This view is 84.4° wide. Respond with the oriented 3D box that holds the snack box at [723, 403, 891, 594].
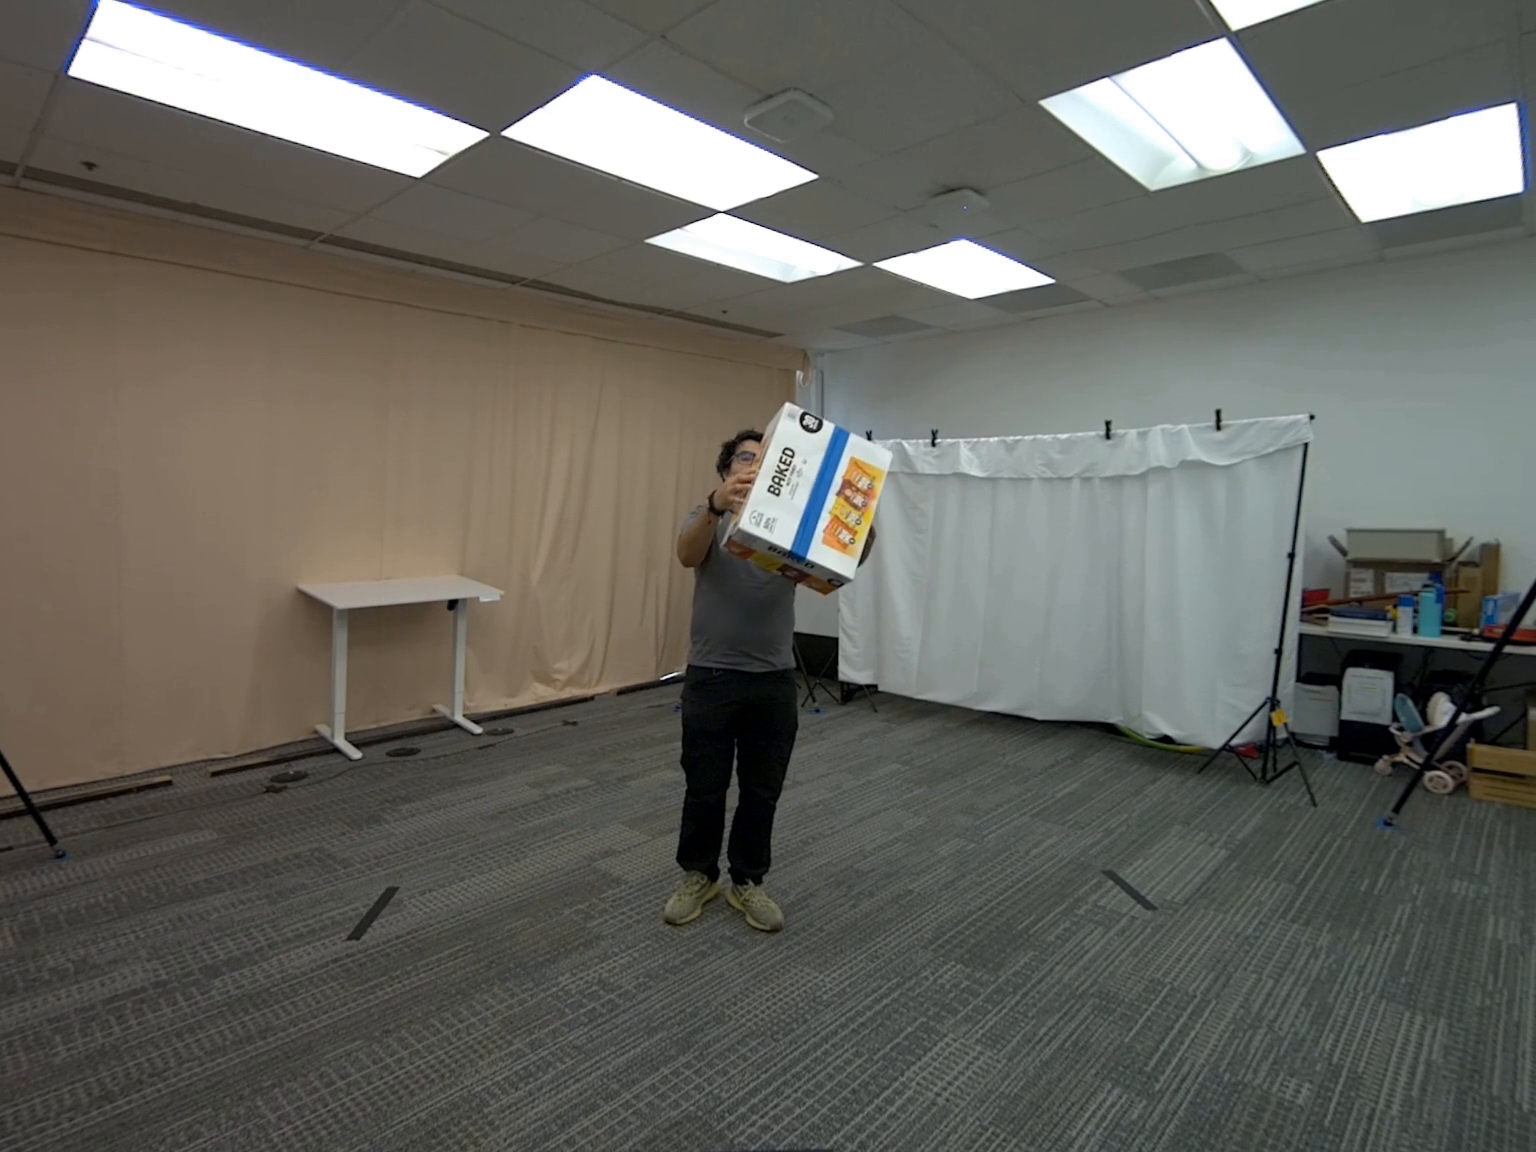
[{"bbox_3d":[0.111,-0.213,2.362,0.337,0.406,0.207,24,-19,-8],"label":"snack box"}]
